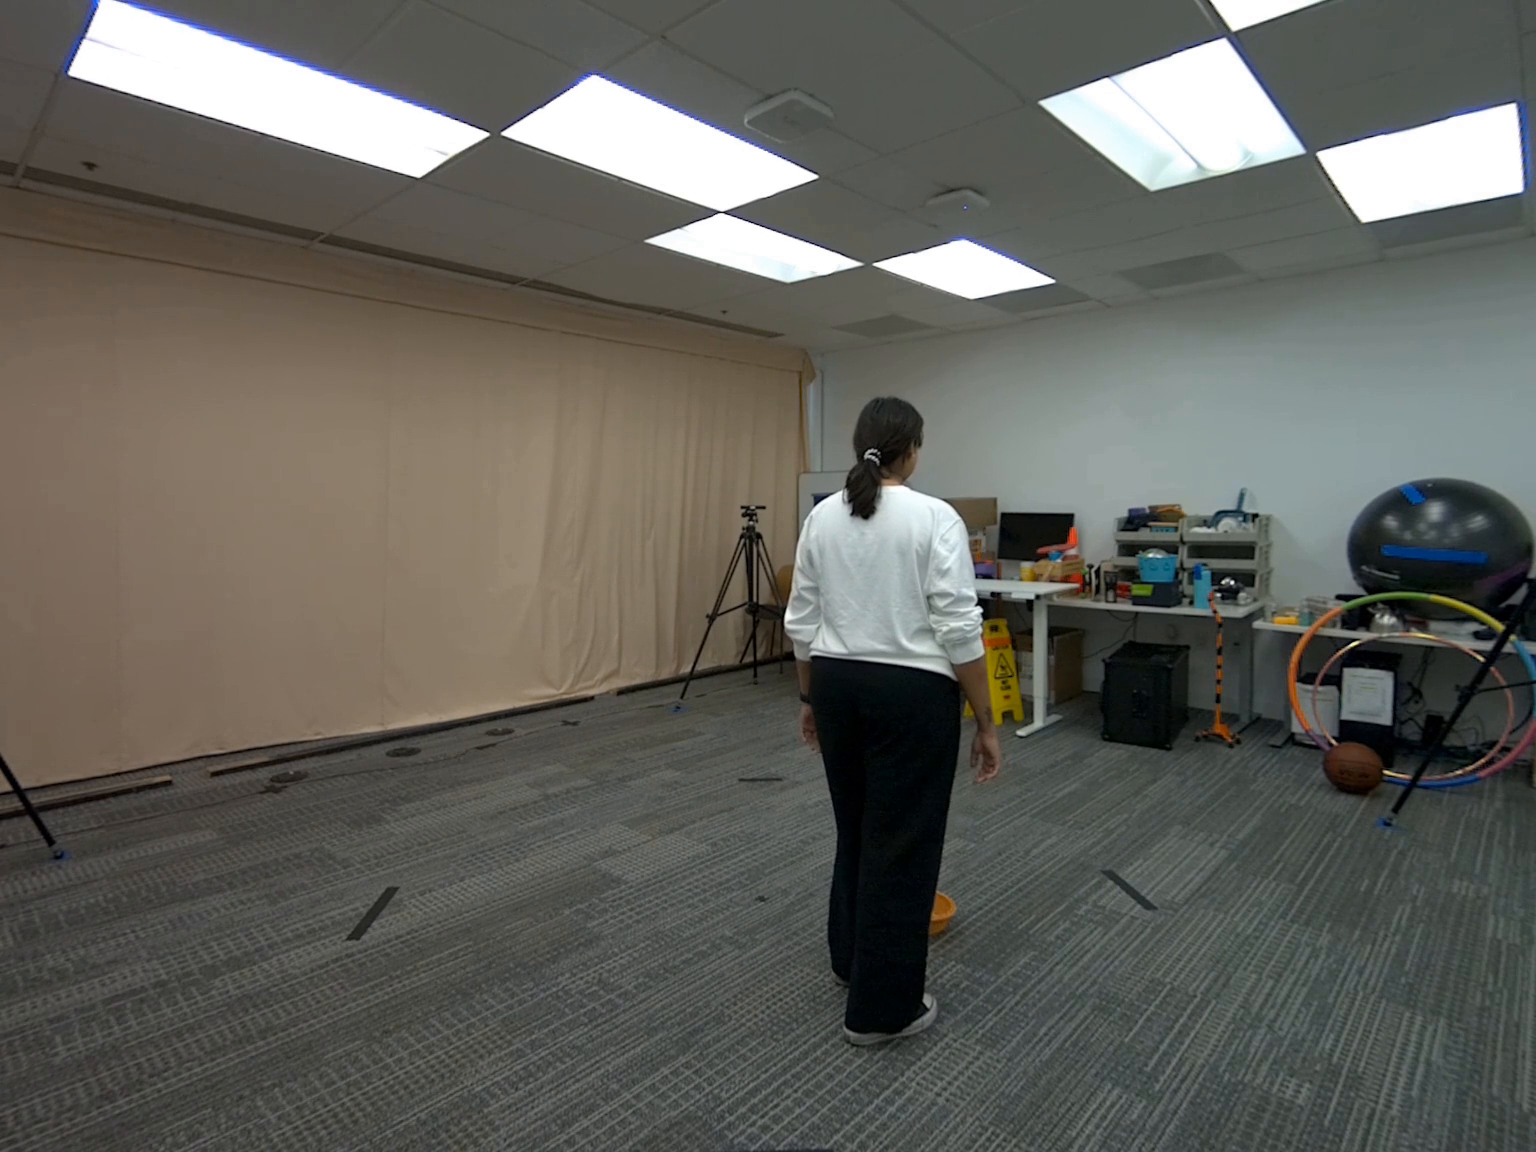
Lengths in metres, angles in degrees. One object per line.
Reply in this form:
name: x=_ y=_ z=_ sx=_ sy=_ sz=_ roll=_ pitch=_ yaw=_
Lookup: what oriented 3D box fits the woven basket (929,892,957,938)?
woven basket: x=0.468 y=1.114 z=2.836 sx=0.362 sy=0.073 sz=0.244 roll=4 pitch=5 yaw=44
